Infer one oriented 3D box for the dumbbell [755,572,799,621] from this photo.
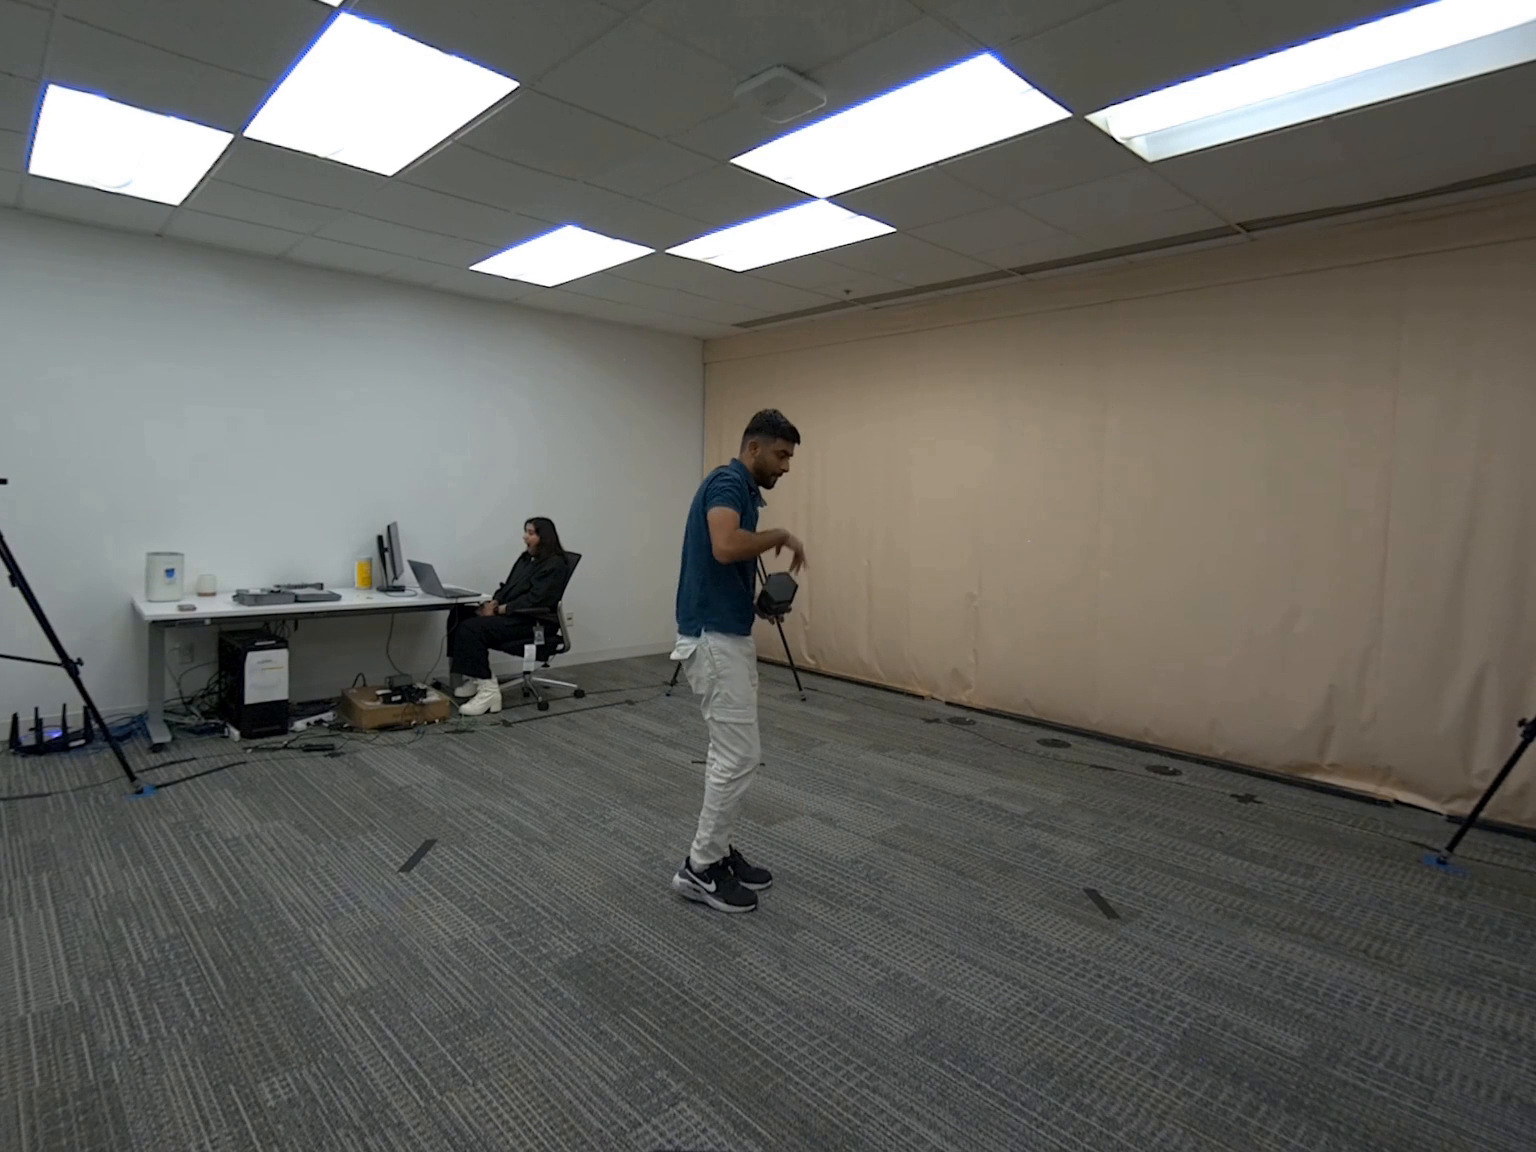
[{"bbox_3d":[0.010,0.082,2.896,0.109,0.123,0.291,22,-14,2],"label":"dumbbell"}]
